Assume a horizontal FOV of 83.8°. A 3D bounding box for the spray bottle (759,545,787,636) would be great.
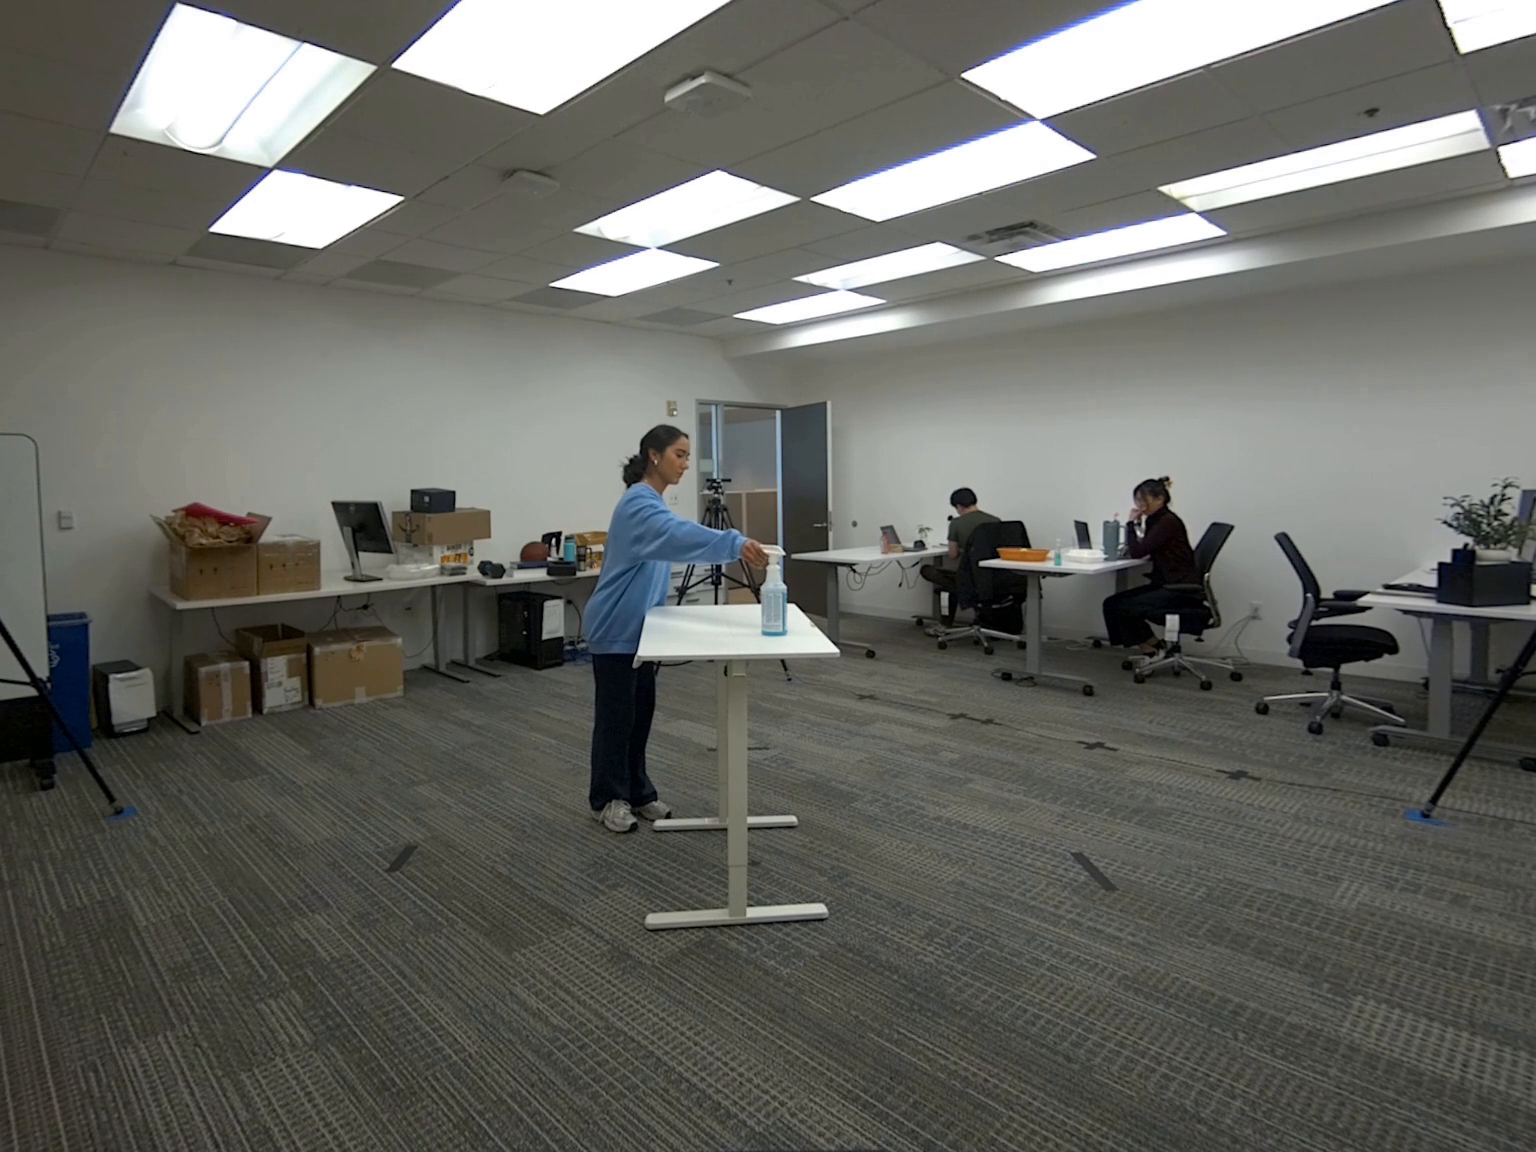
[{"bbox_3d":[0.024,0.049,2.827,0.093,0.296,0.085,5,8,44],"label":"spray bottle"}]
